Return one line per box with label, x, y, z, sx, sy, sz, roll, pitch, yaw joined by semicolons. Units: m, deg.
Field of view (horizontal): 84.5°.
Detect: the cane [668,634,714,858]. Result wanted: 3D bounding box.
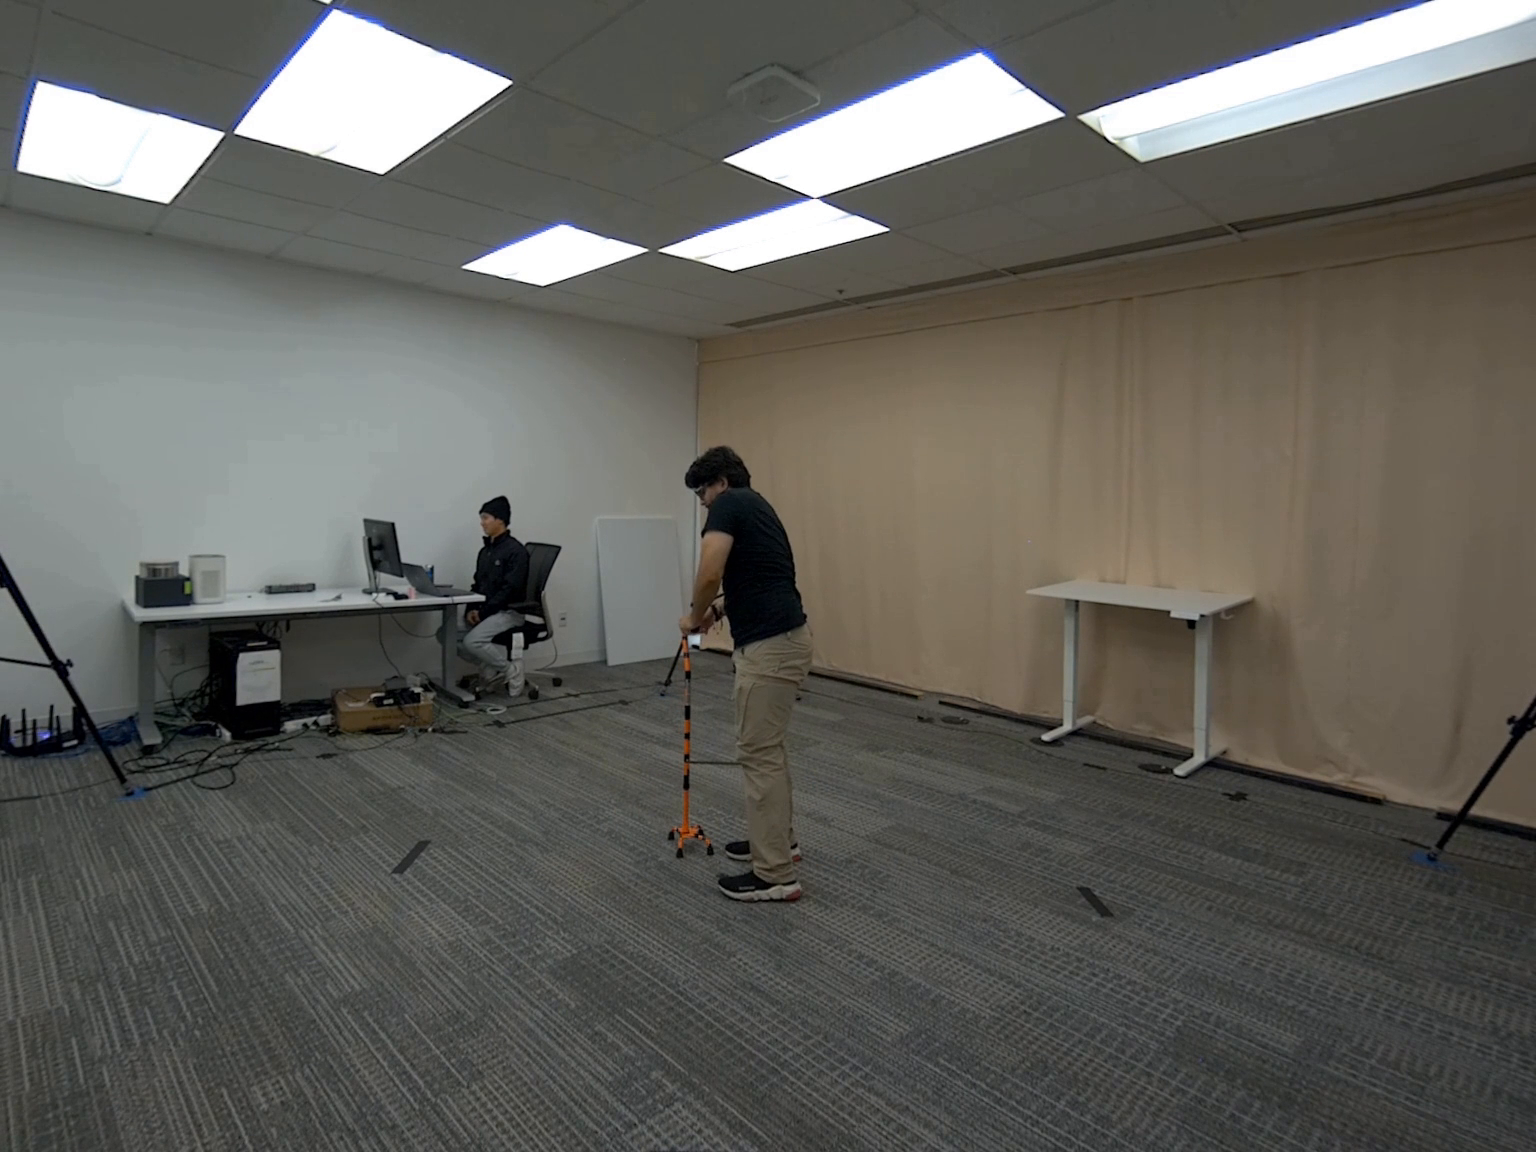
cane;-0.308;0.629;3.333;0.150;0.906;0.209;0;3;-17
